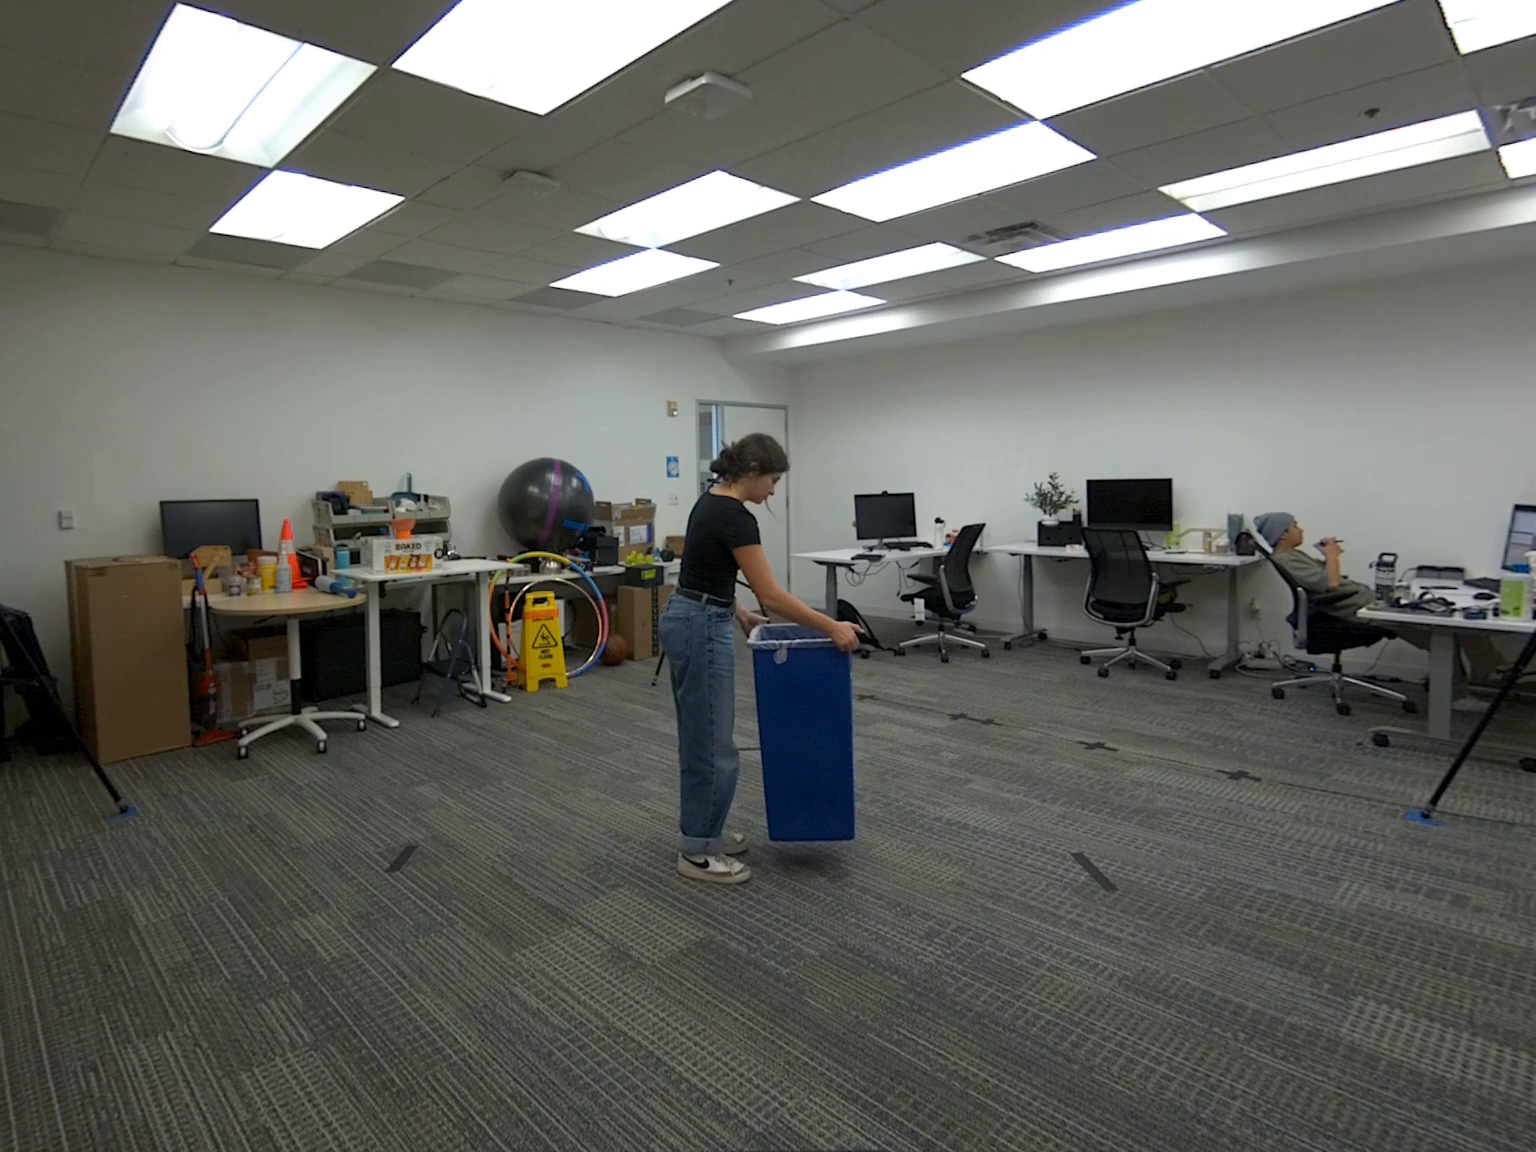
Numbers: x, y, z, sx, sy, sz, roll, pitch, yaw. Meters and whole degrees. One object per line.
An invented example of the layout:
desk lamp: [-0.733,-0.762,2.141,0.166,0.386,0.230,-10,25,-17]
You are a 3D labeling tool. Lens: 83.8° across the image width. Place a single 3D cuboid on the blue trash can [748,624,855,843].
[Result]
blue trash can: [0.140,0.557,3.114,0.380,0.710,0.374,-3,5,5]
